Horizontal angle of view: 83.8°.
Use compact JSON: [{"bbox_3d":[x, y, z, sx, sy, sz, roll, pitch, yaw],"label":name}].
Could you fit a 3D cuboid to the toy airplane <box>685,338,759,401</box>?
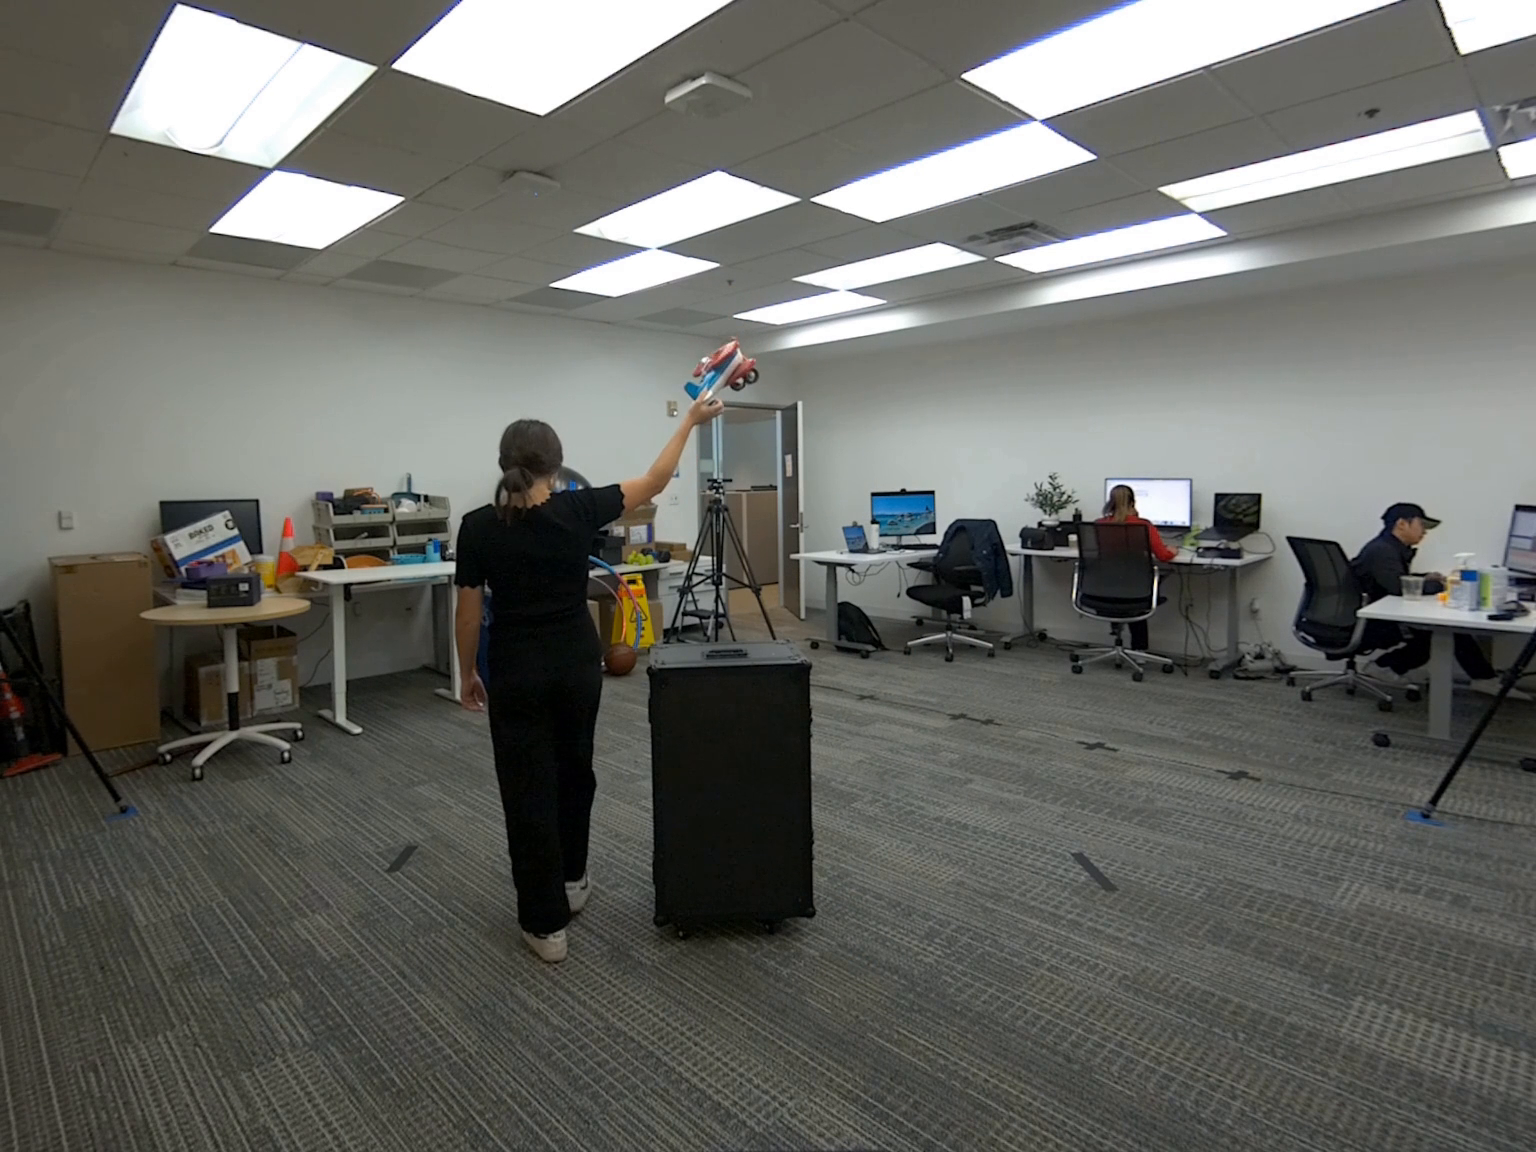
[{"bbox_3d":[-0.147,-0.652,2.813,0.254,0.154,0.260,-27,16,31],"label":"toy airplane"}]
